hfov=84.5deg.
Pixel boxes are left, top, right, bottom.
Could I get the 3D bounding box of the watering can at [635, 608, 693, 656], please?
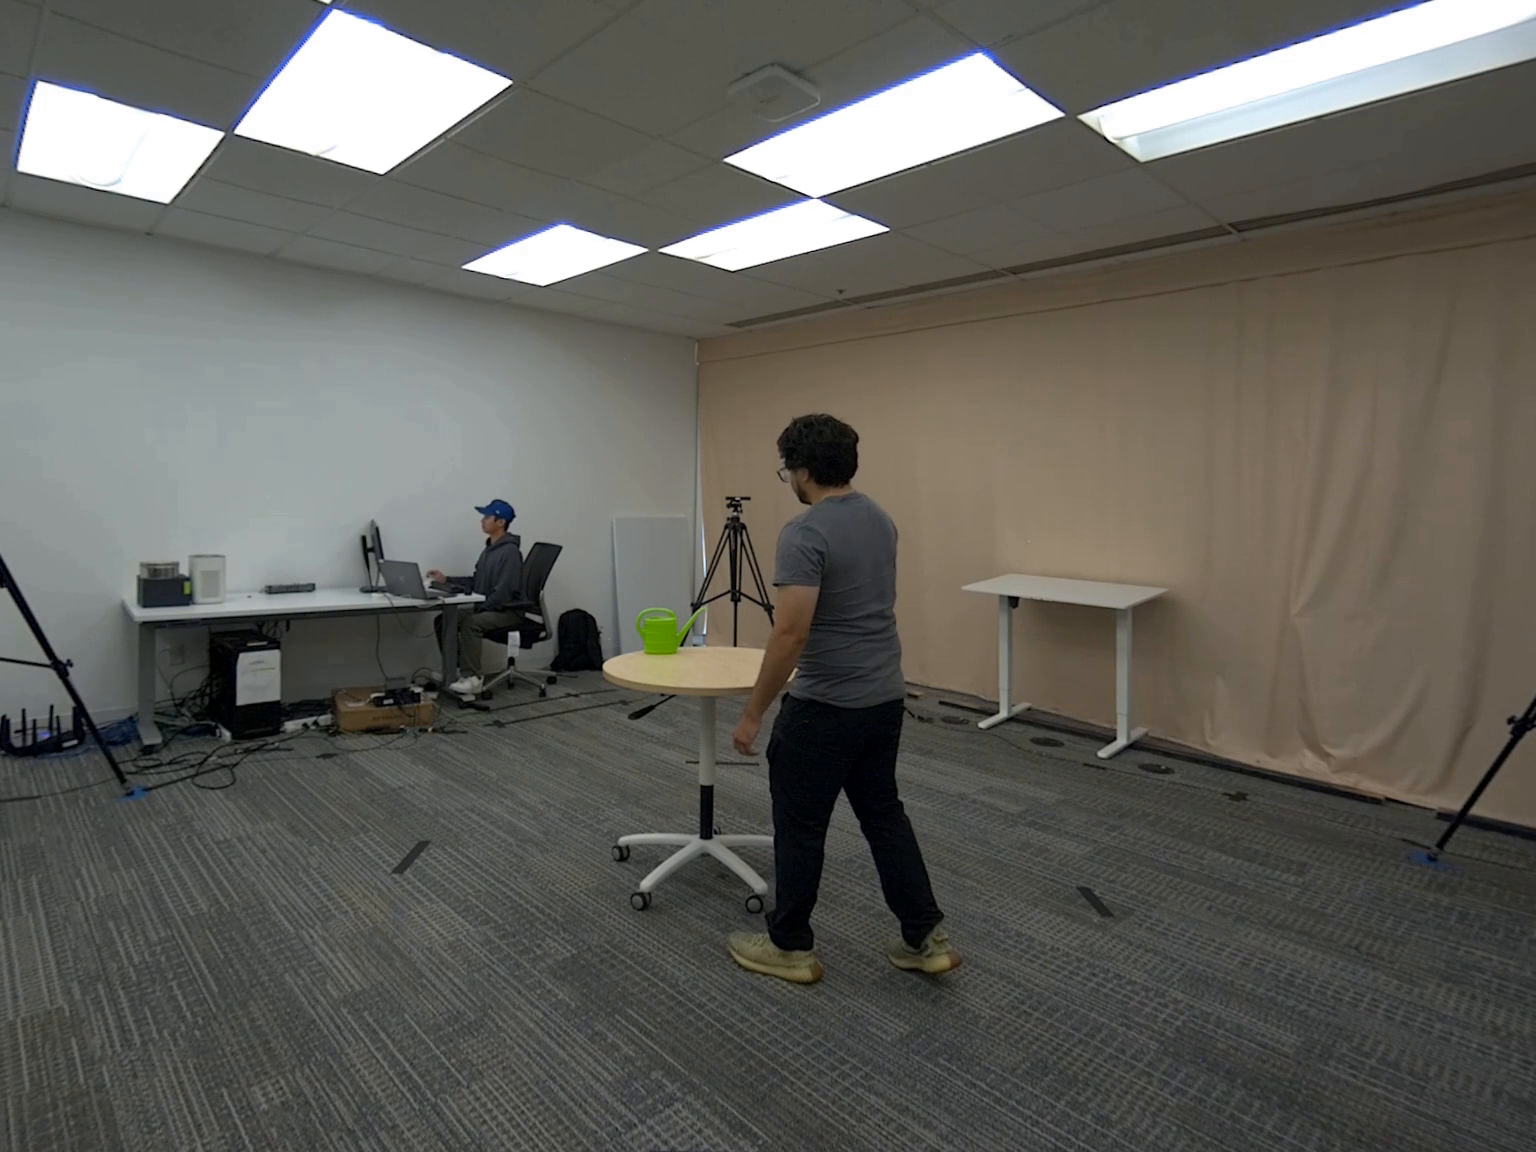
[{"bbox_3d":[-0.388,0.217,3.293,0.279,0.176,0.098,0,3,5],"label":"watering can"}]
